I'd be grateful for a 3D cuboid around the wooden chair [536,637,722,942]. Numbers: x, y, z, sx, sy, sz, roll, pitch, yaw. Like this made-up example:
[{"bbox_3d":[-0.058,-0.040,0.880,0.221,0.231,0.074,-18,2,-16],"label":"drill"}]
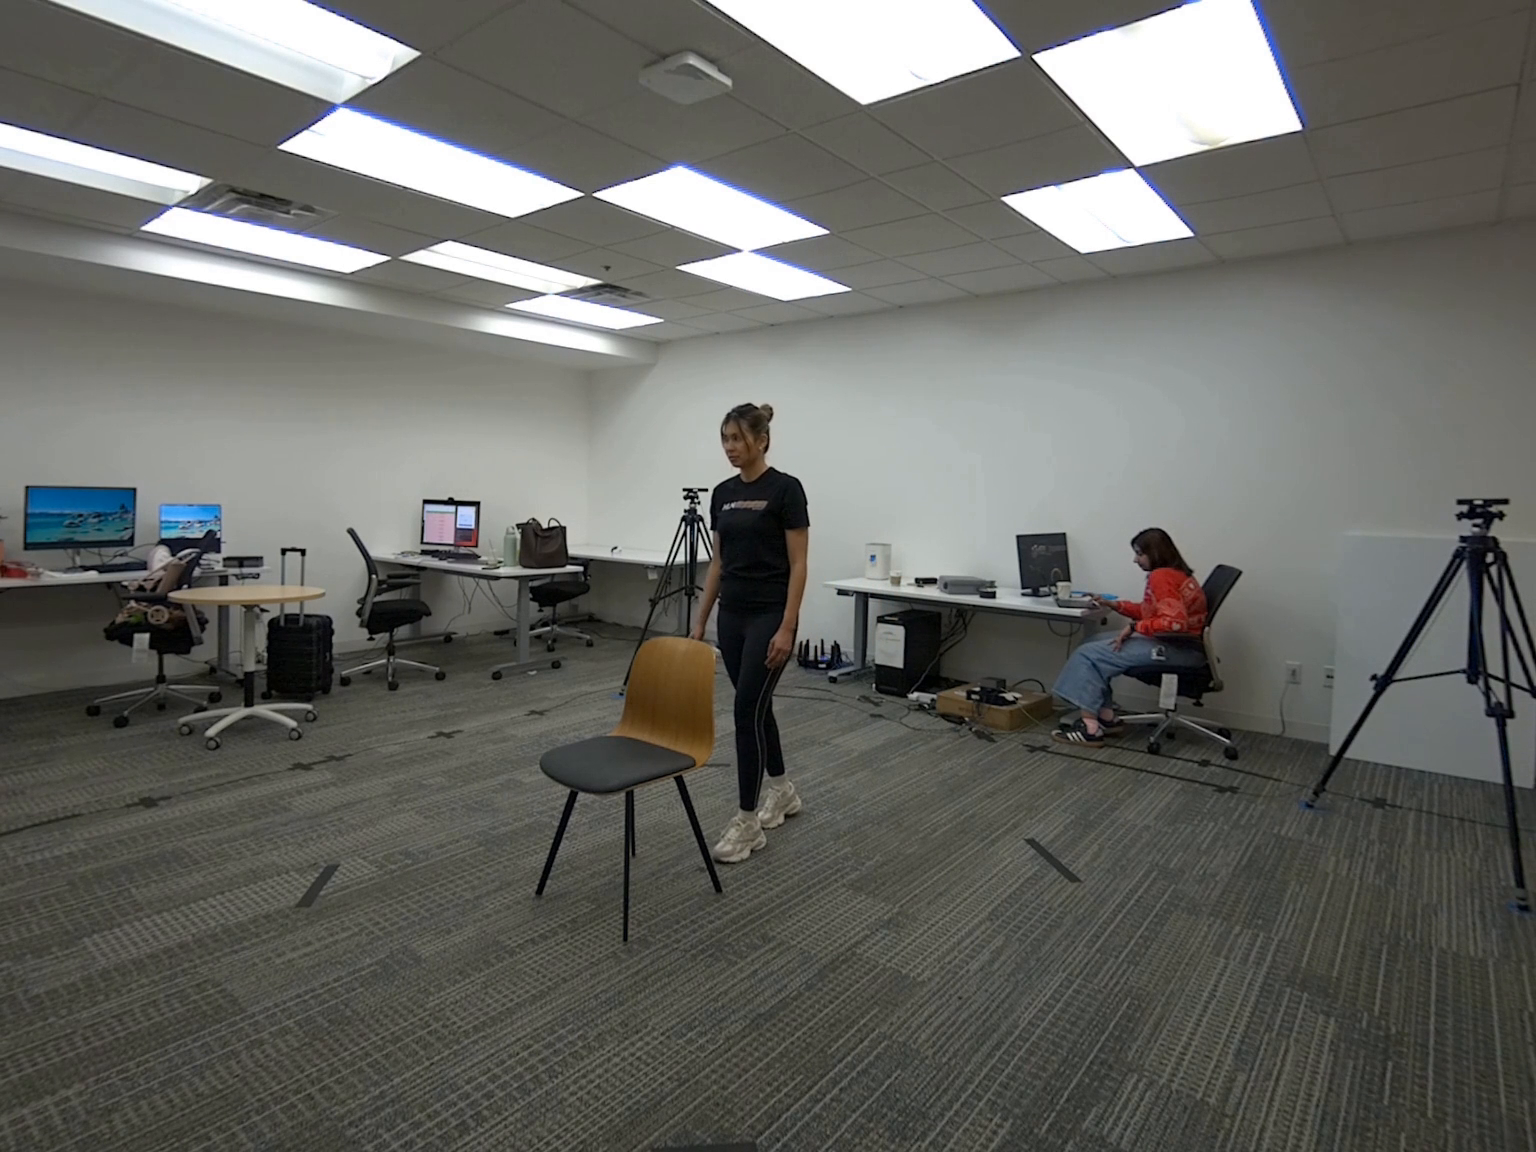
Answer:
[{"bbox_3d":[-0.479,0.661,2.874,0.494,0.878,0.506,4,0,39],"label":"wooden chair"}]
